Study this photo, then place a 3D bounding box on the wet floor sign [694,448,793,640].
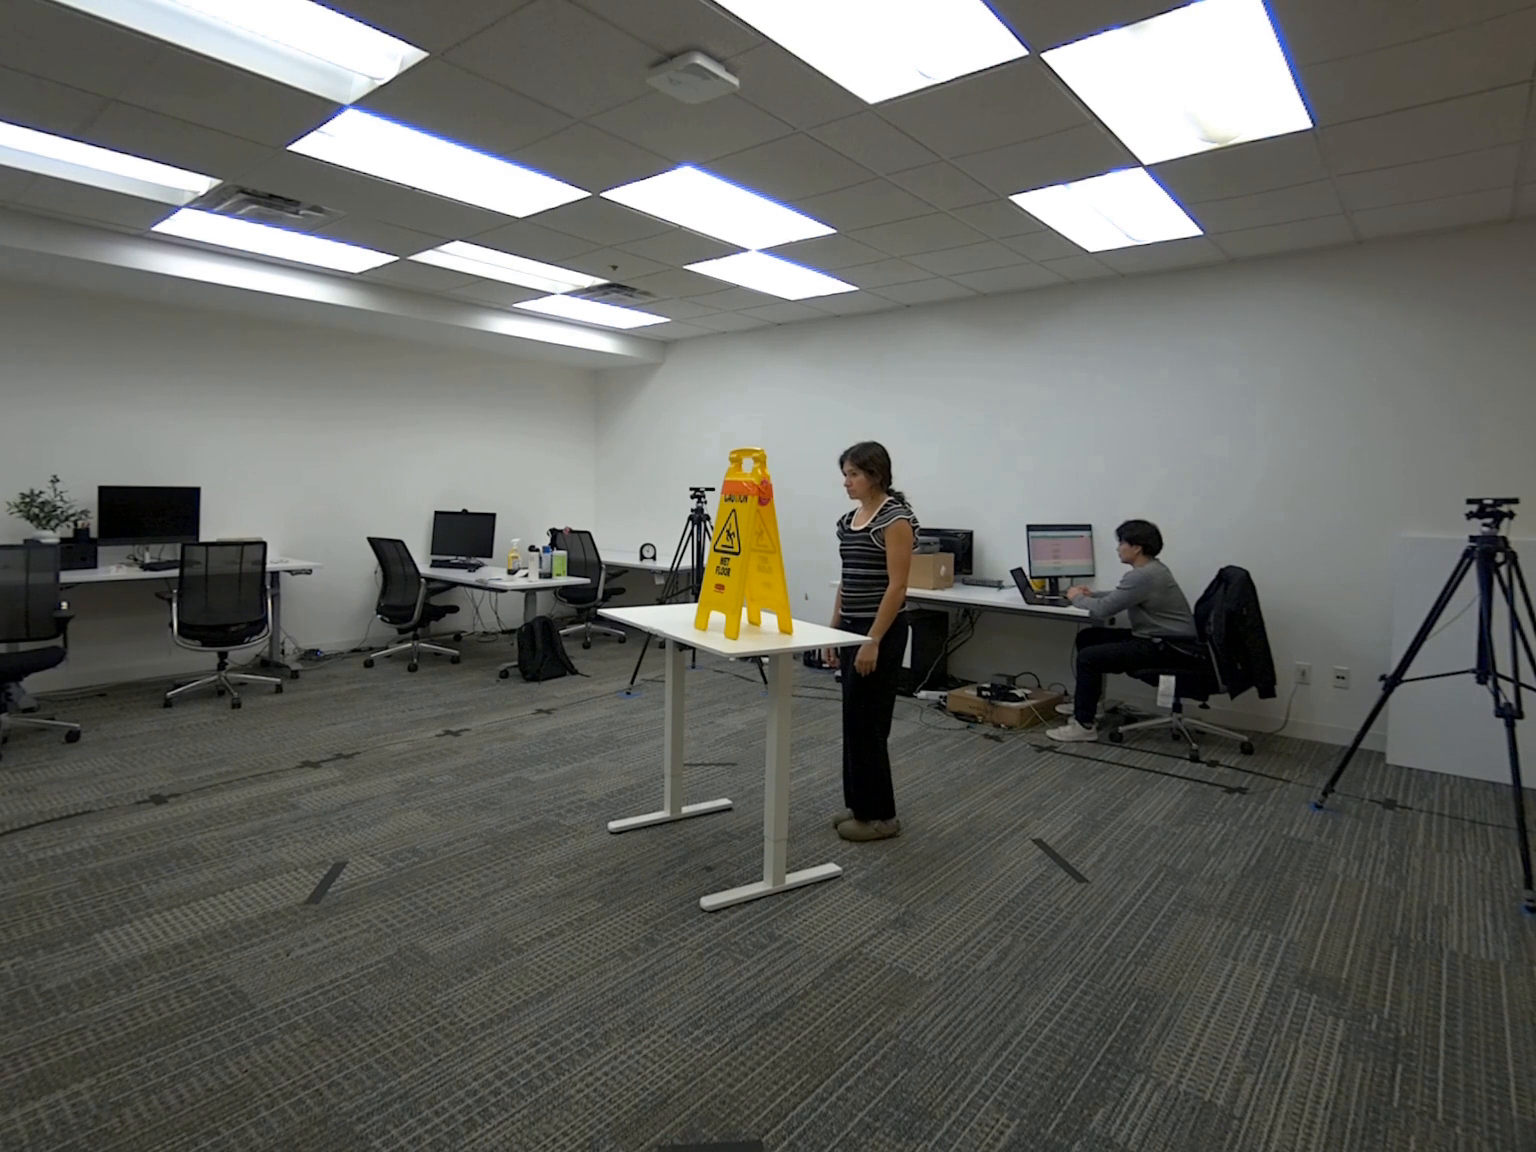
[{"bbox_3d":[-0.094,-0.129,3.018,0.281,0.644,0.291,-2,4,-34],"label":"wet floor sign"}]
